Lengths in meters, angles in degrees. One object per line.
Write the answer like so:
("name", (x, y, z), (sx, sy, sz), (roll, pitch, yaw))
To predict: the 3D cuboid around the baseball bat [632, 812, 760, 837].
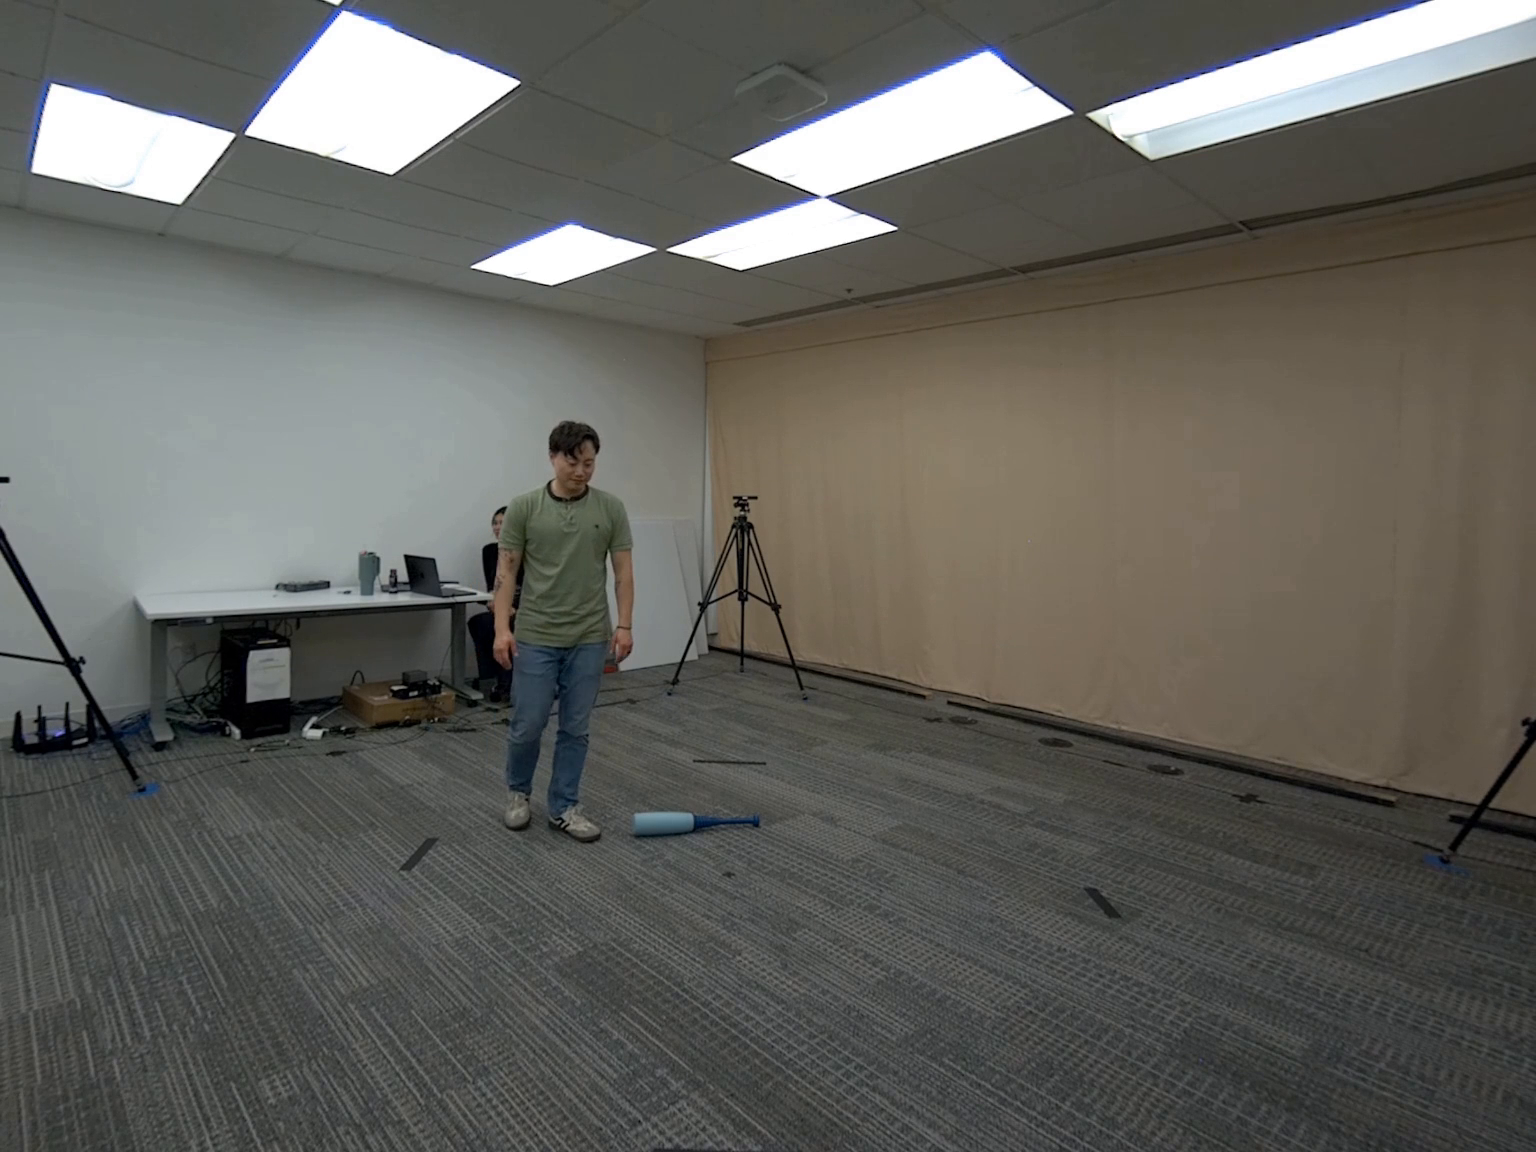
("baseball bat", (-0.305, 1.032, 3.501), (0.536, 0.089, 0.090), (3, 4, -15))
